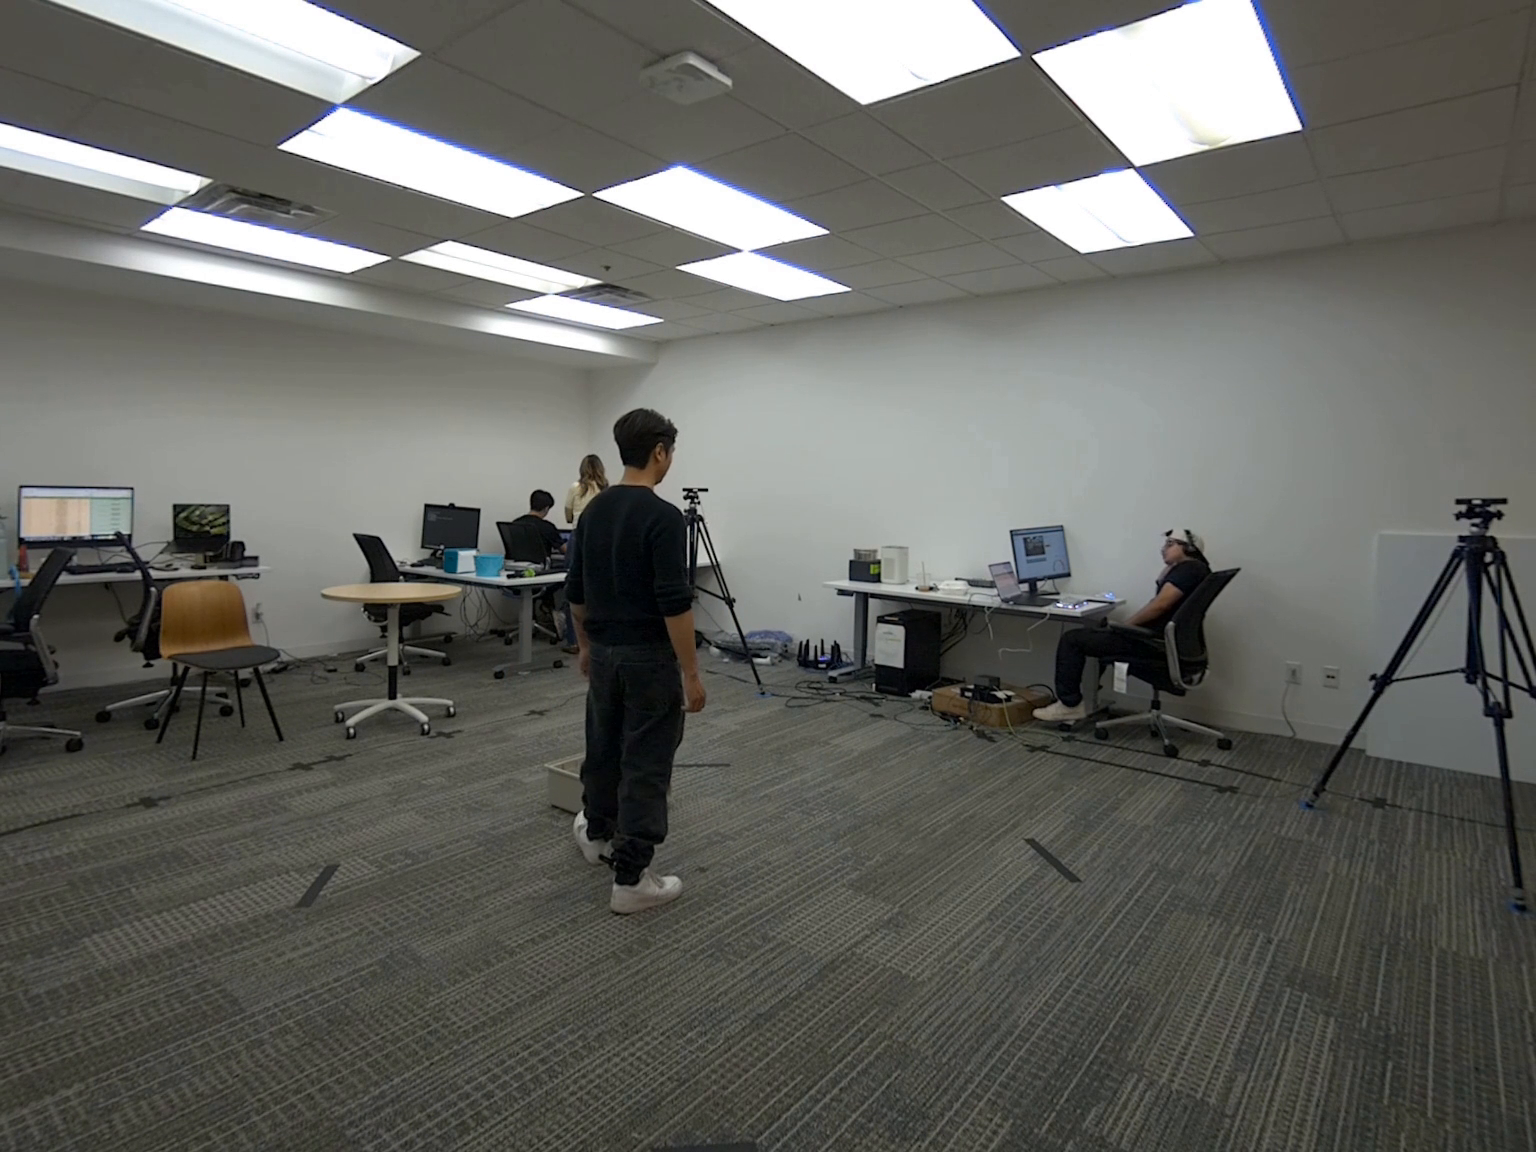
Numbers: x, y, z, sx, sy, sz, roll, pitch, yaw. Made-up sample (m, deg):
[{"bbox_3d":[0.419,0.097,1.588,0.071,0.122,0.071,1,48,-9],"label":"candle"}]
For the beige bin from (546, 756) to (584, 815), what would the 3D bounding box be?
[{"bbox_3d":[-0.707,0.910,3.717,0.436,0.188,0.367,6,8,37],"label":"beige bin"}]
